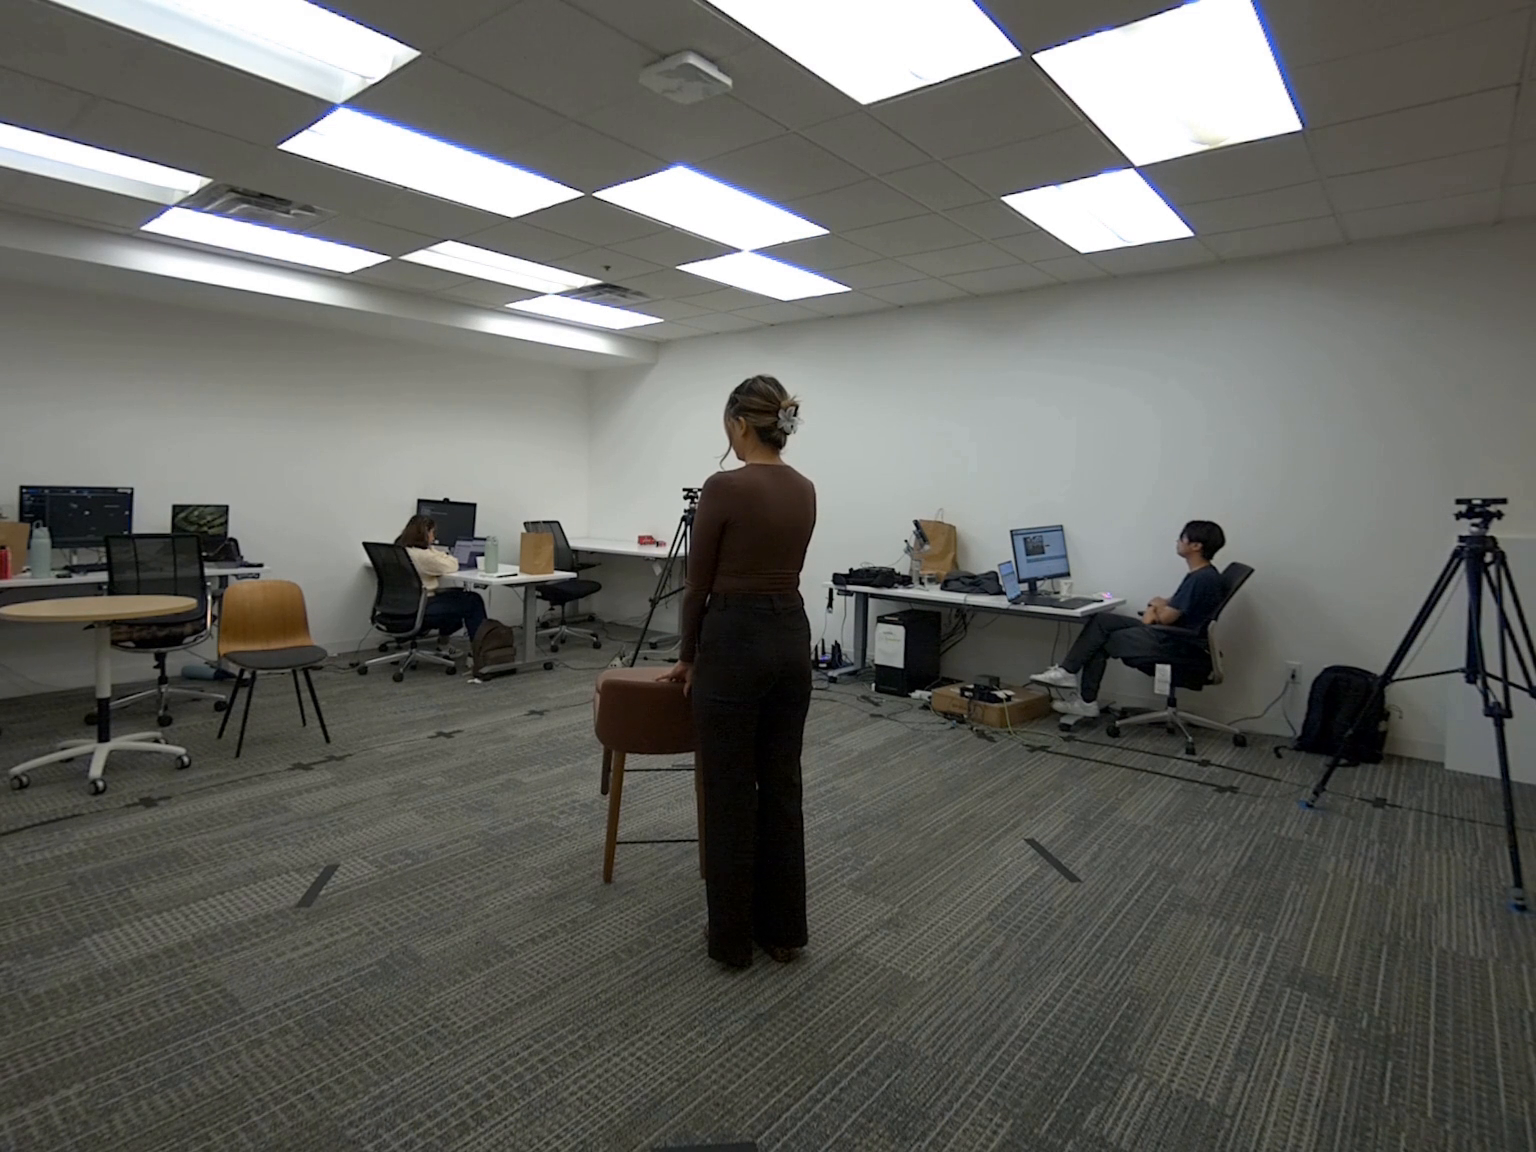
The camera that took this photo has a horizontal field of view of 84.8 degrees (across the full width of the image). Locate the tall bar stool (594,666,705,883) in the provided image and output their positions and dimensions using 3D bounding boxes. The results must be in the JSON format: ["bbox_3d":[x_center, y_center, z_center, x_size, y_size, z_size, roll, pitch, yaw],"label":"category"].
[{"bbox_3d":[-0.402,0.592,3.011,0.453,0.871,0.482,1,29,-9],"label":"tall bar stool"}]
